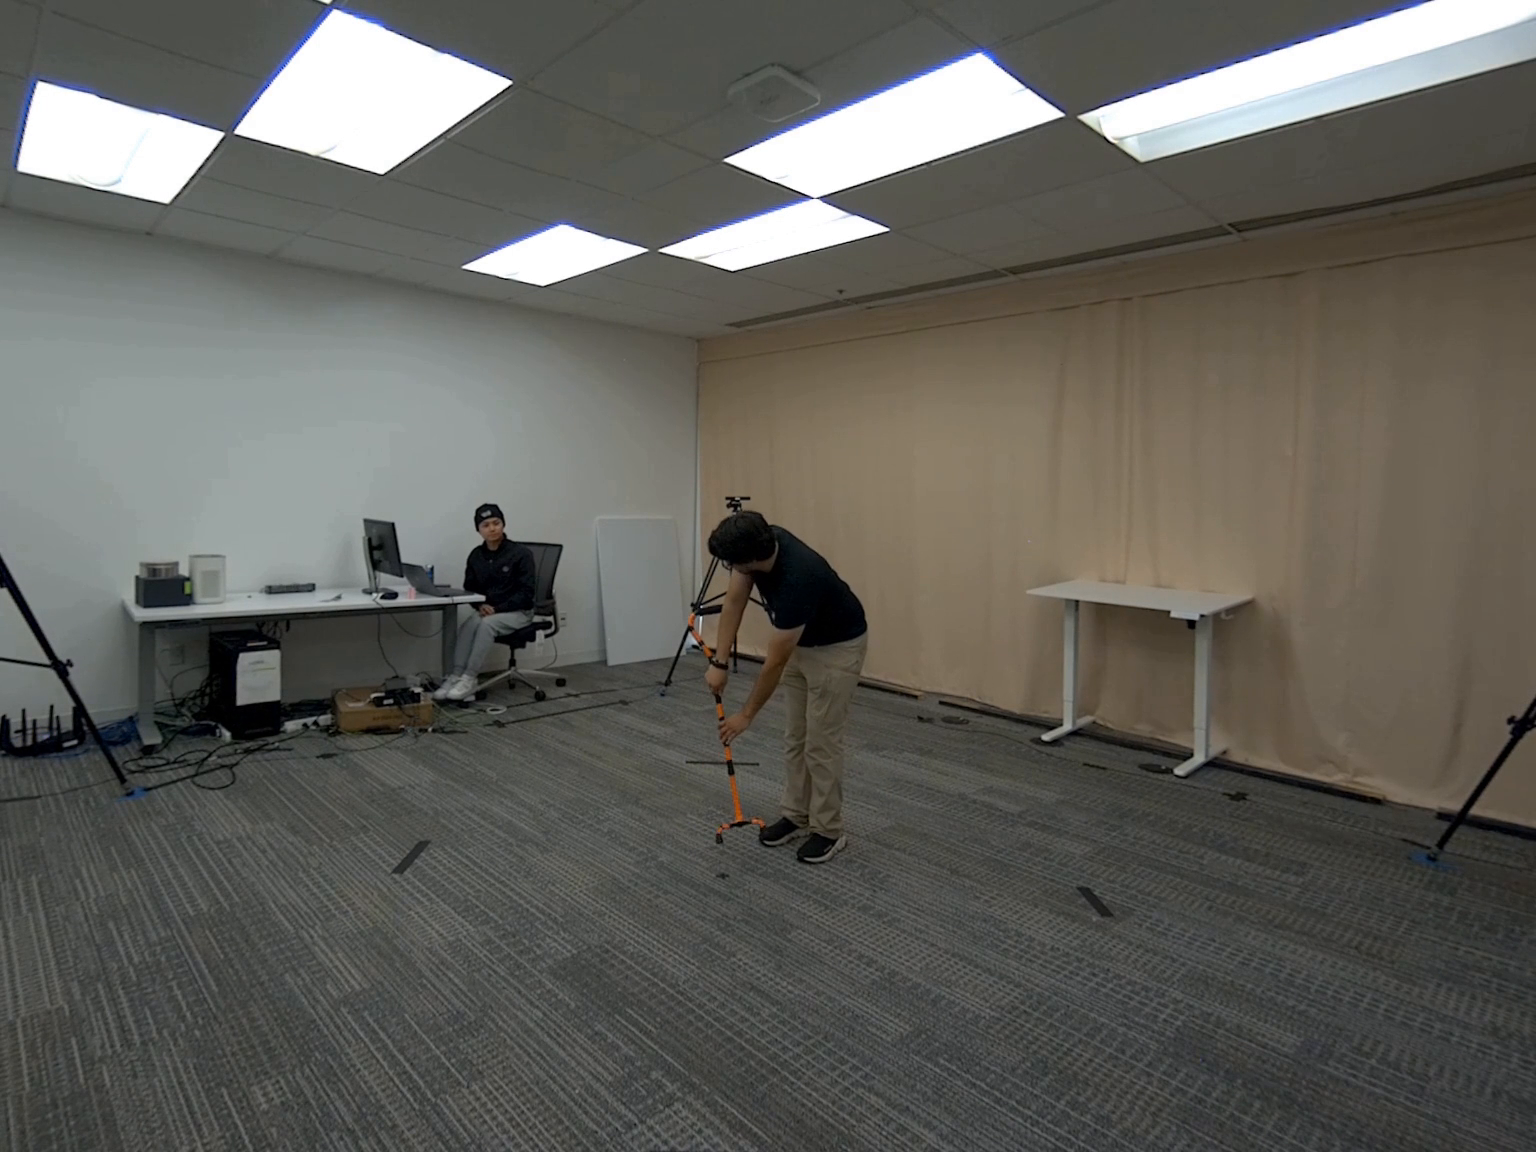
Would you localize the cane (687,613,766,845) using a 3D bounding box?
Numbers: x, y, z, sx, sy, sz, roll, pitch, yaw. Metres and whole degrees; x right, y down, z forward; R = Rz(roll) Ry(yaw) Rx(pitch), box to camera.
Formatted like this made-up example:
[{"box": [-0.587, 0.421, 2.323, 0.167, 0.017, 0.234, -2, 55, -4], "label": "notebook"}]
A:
[{"box": [-0.186, 0.574, 3.334, 0.206, 0.917, 0.150, -8, -12, -6], "label": "cane"}]
